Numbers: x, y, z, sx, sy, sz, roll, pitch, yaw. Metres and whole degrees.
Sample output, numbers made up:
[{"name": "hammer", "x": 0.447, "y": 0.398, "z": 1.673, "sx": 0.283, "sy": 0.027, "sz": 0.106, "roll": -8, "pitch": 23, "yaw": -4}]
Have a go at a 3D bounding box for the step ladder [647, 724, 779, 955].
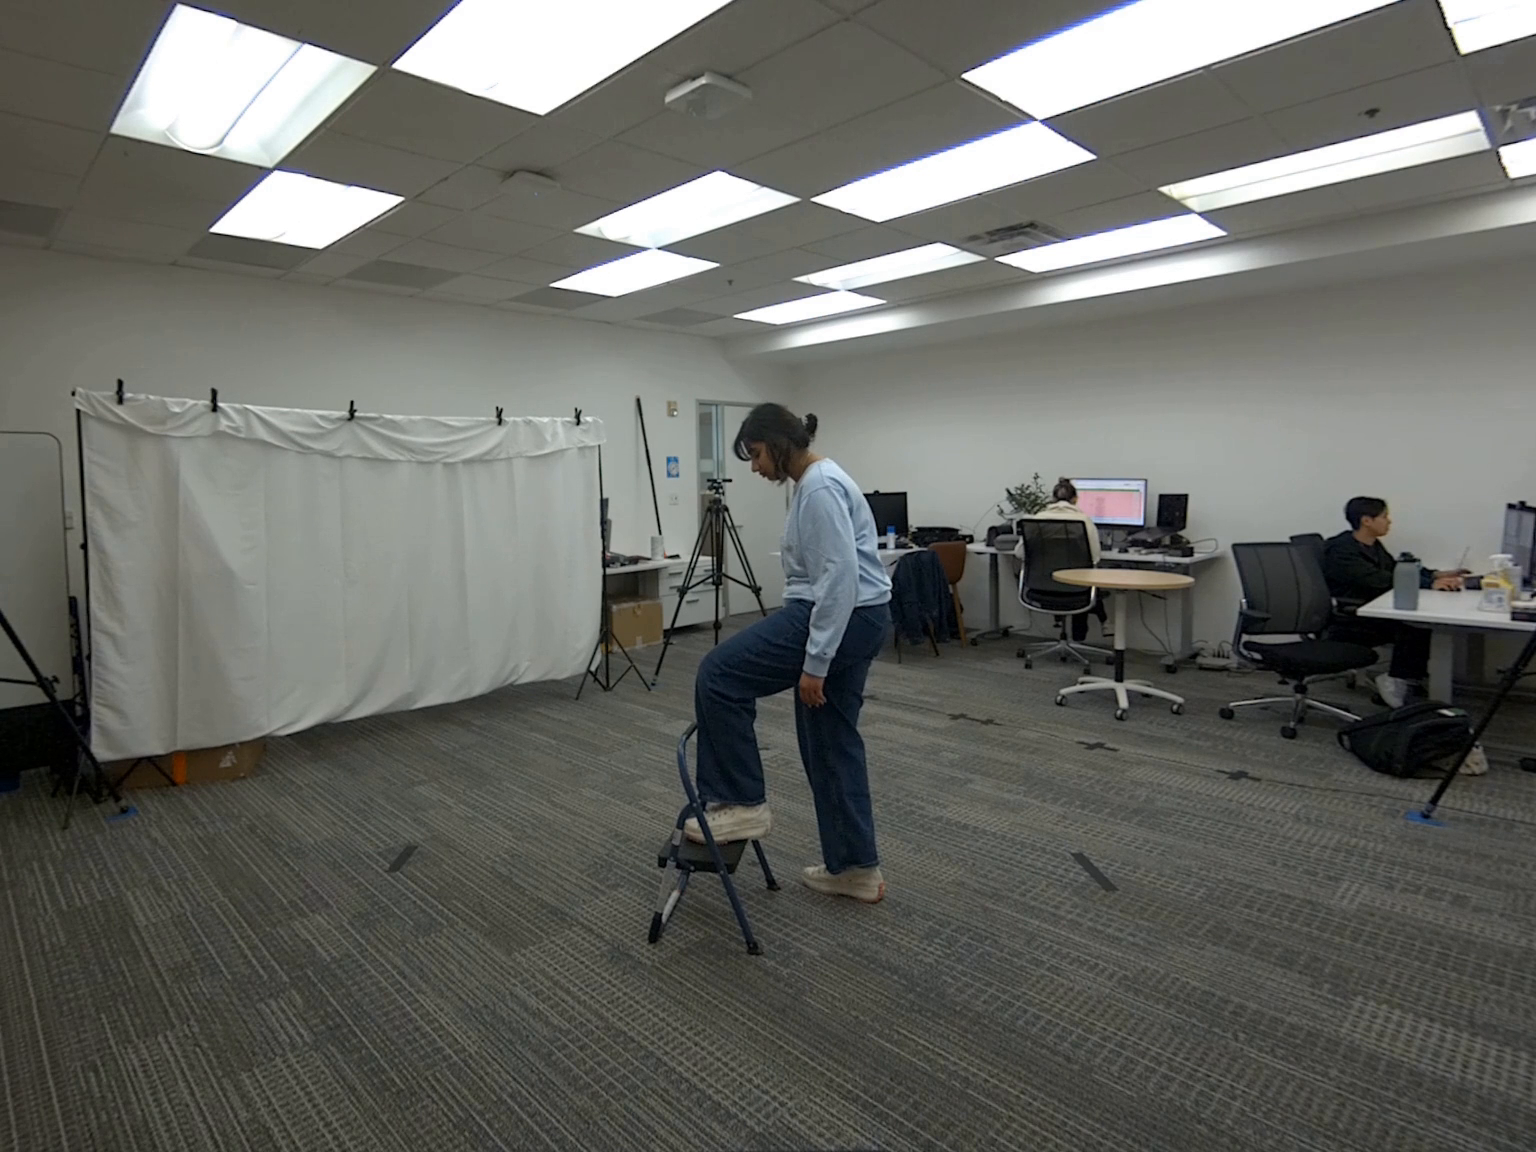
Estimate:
[{"name": "step ladder", "x": -0.166, "y": 0.791, "z": 2.732, "sx": 0.353, "sy": 0.604, "sz": 0.428, "roll": 0, "pitch": 4, "yaw": 10}]
